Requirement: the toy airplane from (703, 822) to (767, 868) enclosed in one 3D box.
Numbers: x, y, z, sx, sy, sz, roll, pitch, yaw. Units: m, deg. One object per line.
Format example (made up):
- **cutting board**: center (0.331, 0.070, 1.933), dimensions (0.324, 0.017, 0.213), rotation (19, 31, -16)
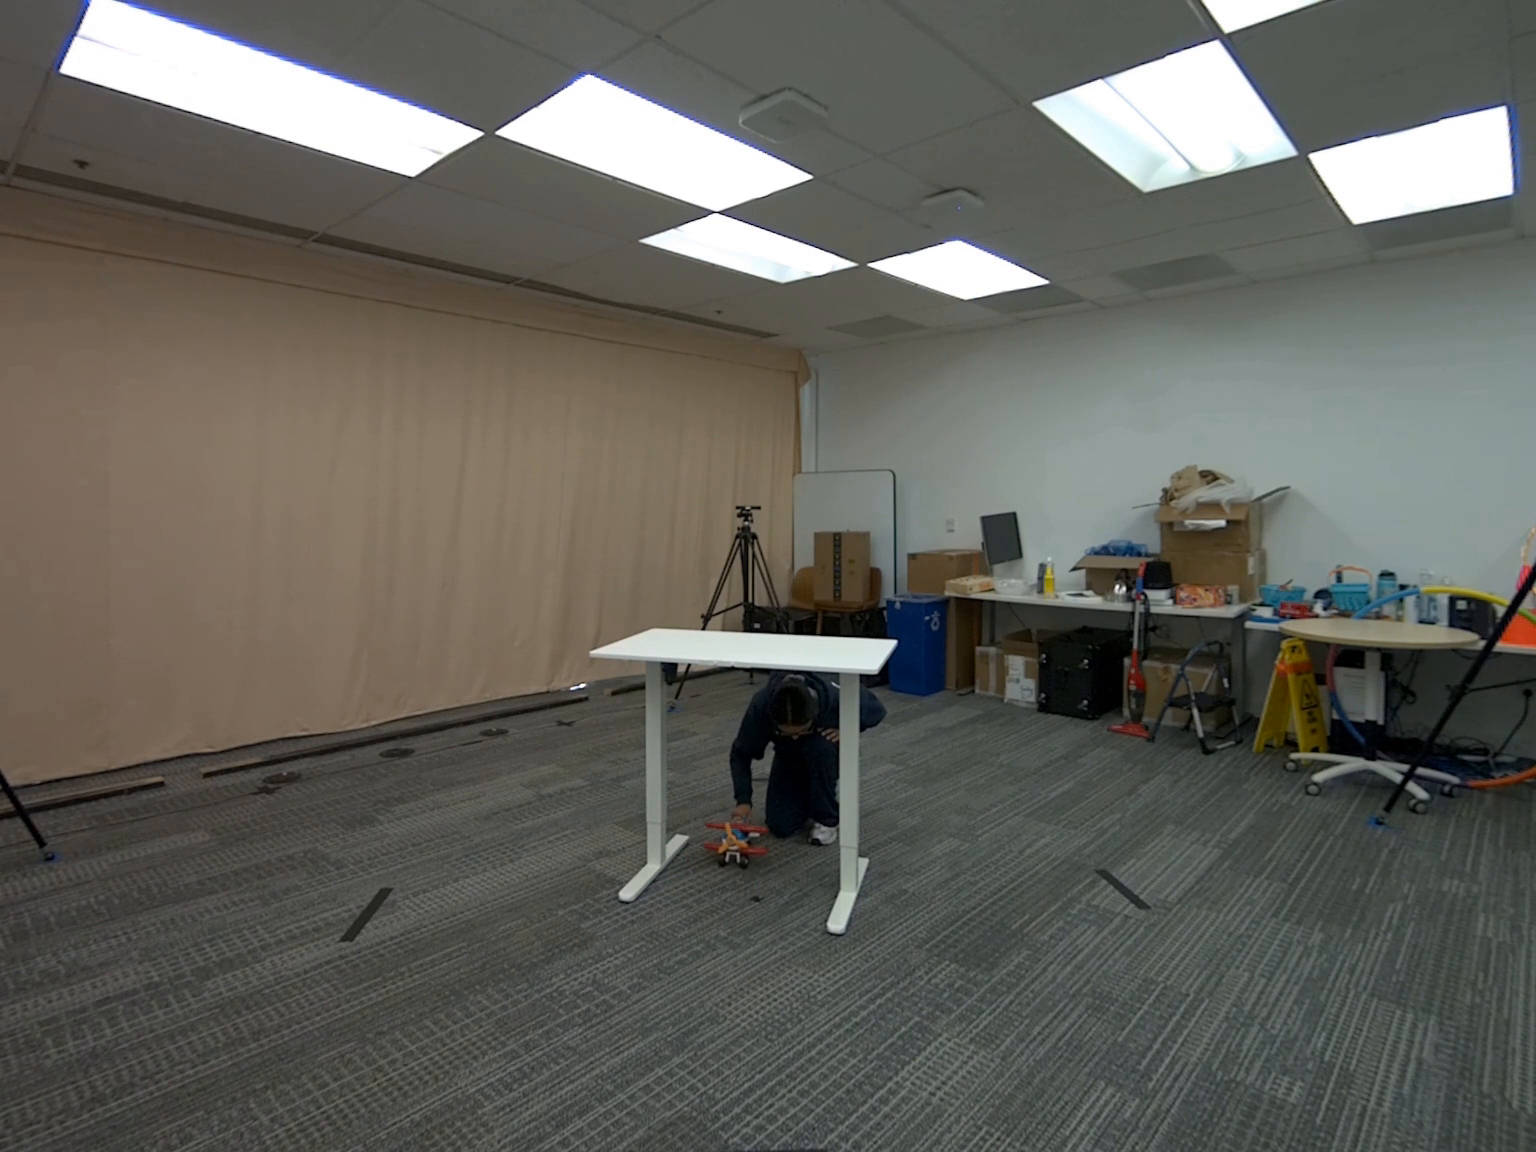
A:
- **toy airplane**: center (-0.121, 1.036, 3.328), dimensions (0.247, 0.156, 0.264), rotation (0, 5, -17)
